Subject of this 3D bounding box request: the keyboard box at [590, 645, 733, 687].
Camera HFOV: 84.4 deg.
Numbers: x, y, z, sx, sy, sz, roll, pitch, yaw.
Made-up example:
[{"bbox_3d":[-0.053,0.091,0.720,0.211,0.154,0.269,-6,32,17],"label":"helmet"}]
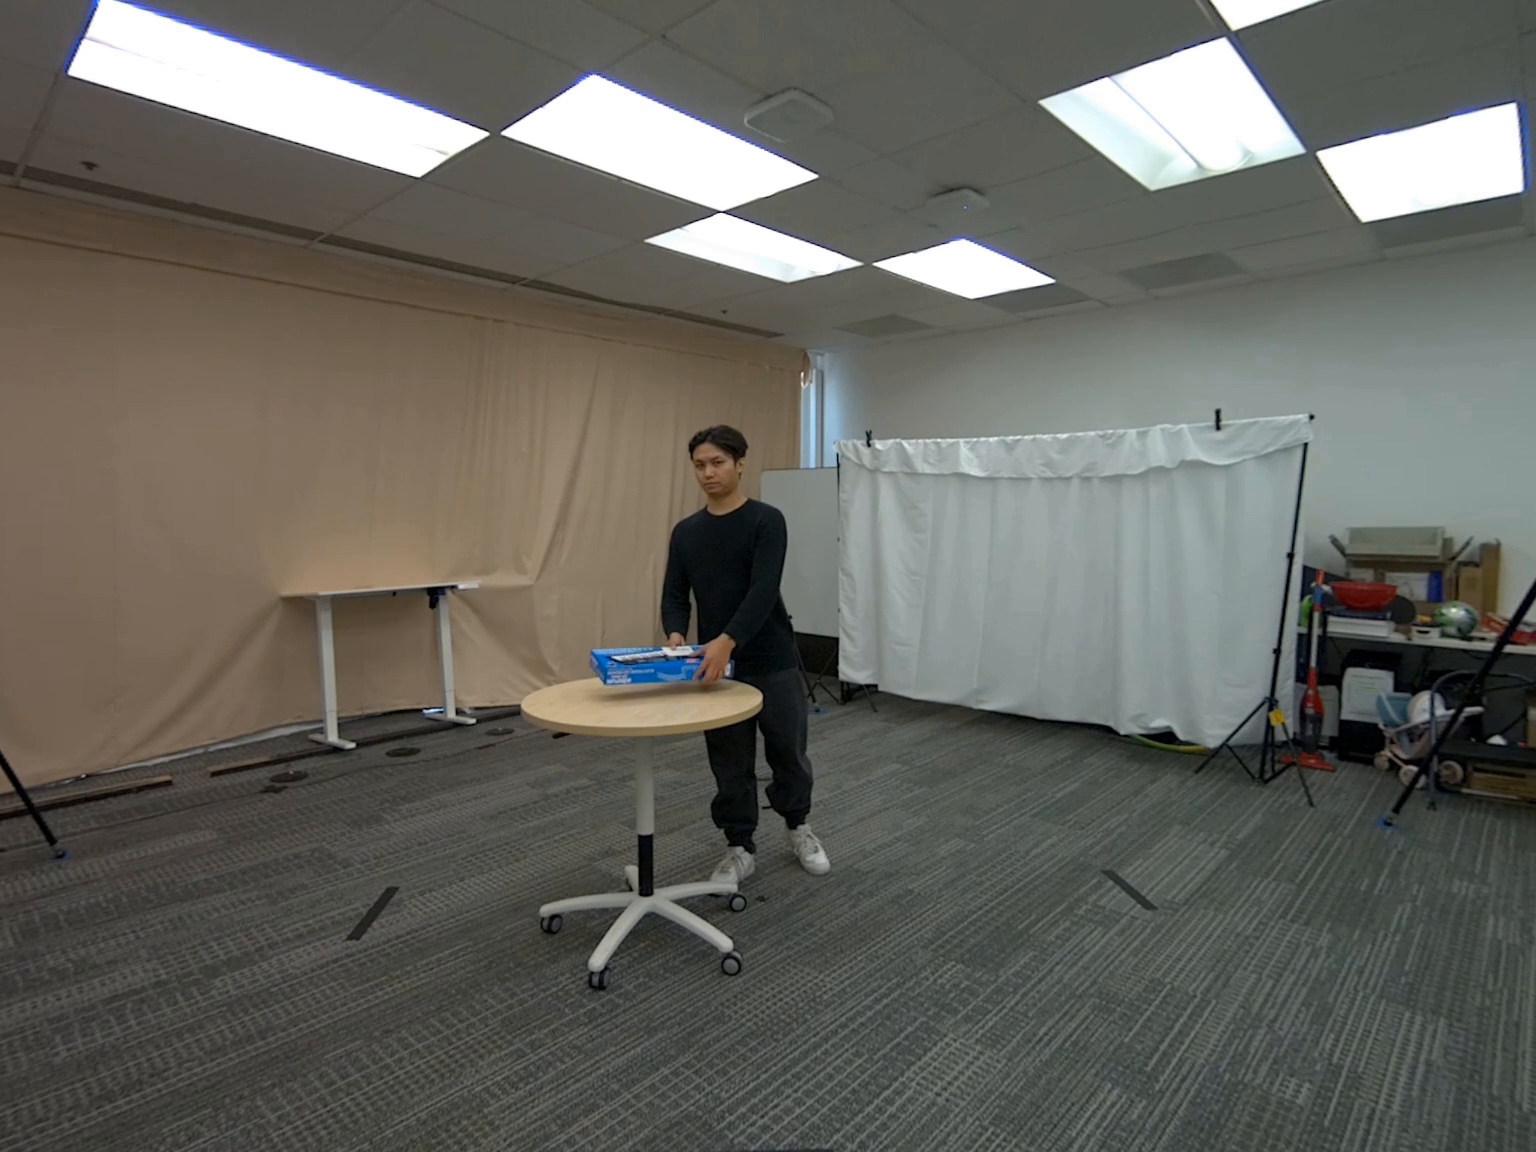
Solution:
[{"bbox_3d":[-0.350,0.280,2.747,0.426,0.059,0.181,1,14,-24],"label":"keyboard box"}]
